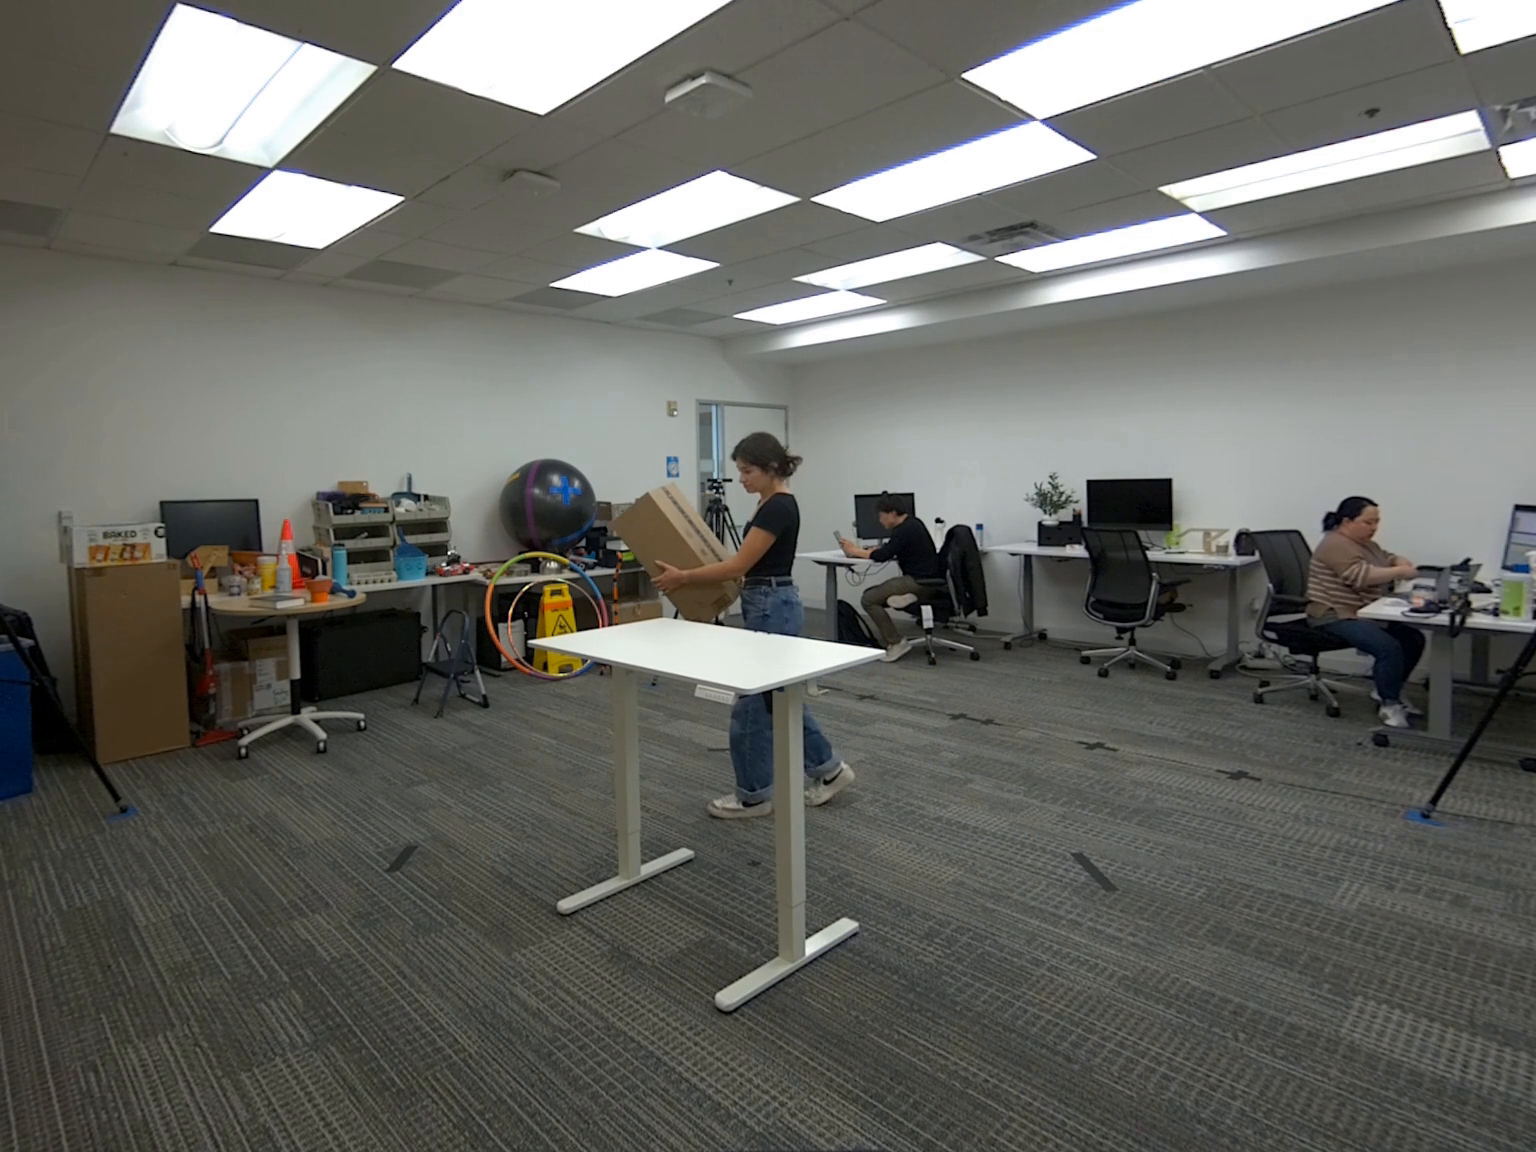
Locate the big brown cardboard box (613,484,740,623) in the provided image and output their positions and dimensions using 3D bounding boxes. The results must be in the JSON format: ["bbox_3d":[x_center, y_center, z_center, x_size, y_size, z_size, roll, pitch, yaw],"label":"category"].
[{"bbox_3d":[-0.364,-0.098,3.646,0.234,0.590,0.416,-39,0,14],"label":"big brown cardboard box"}]
